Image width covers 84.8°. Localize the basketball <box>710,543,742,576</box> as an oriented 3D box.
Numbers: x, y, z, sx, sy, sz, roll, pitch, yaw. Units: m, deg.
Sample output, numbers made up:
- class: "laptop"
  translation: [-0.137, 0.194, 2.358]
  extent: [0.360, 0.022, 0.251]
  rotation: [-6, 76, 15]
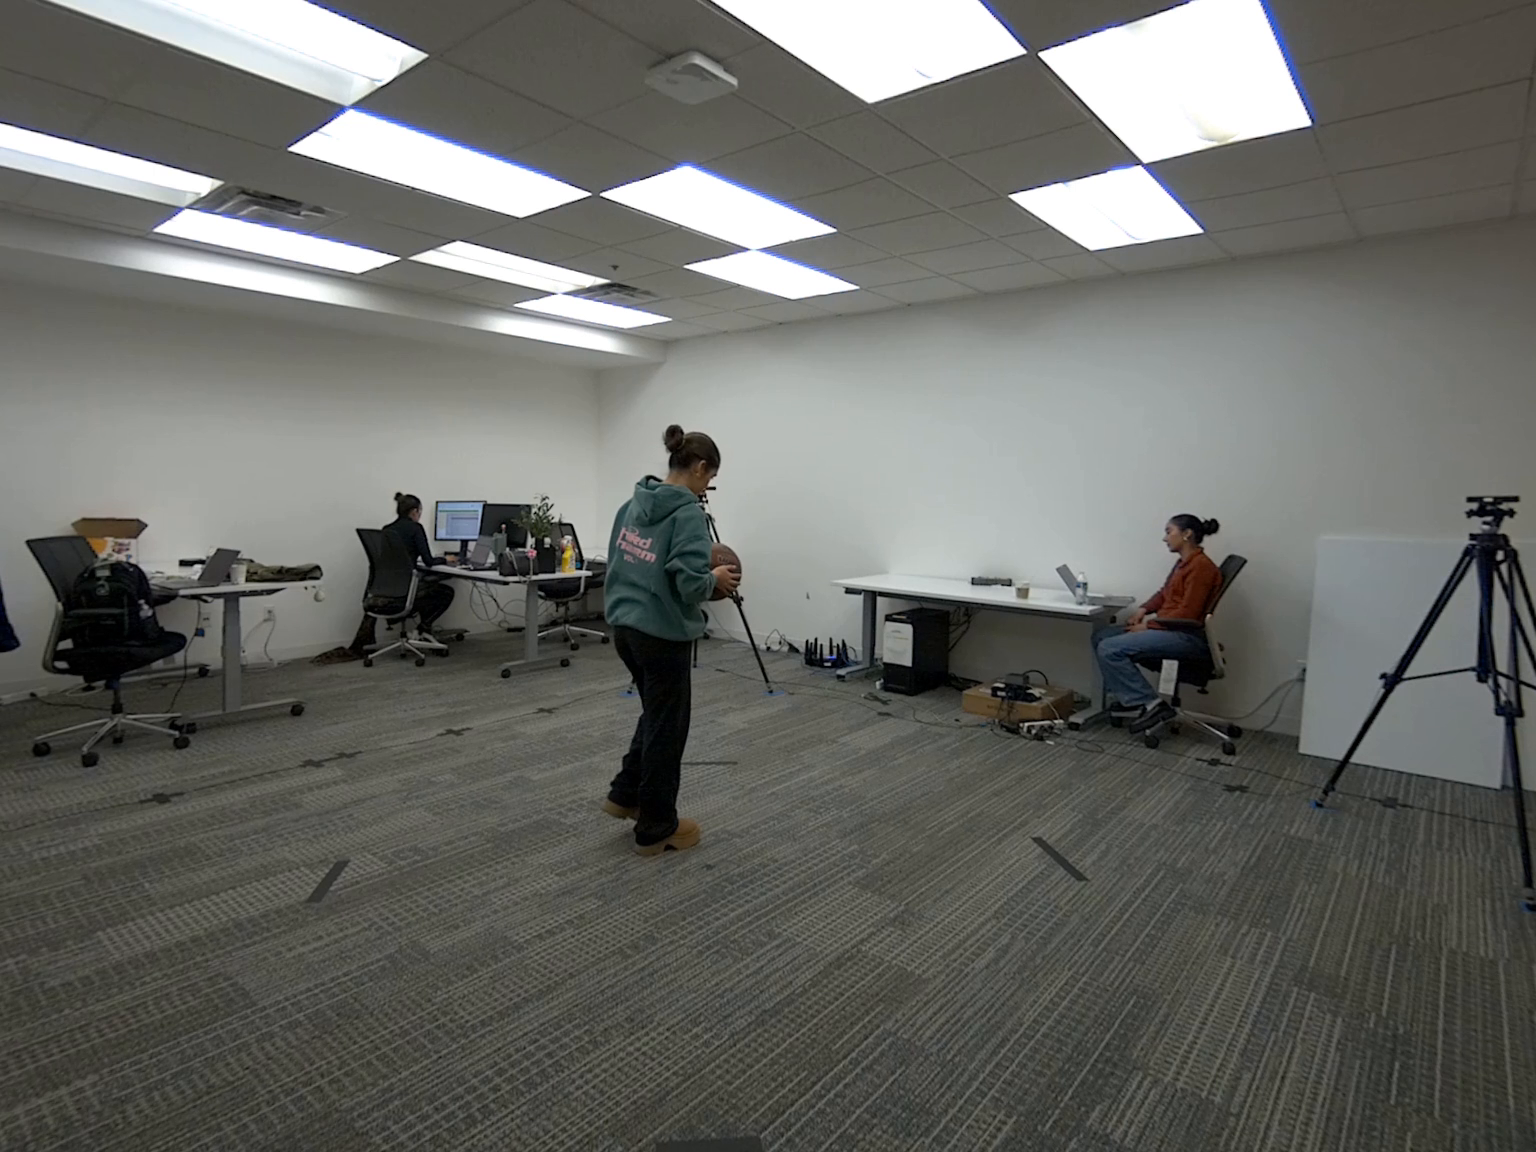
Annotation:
- class: "basketball"
  translation: [-0.236, -0.018, 3.384]
  extent: [0.235, 0.235, 0.237]
  rotation: [1, 4, -2]
